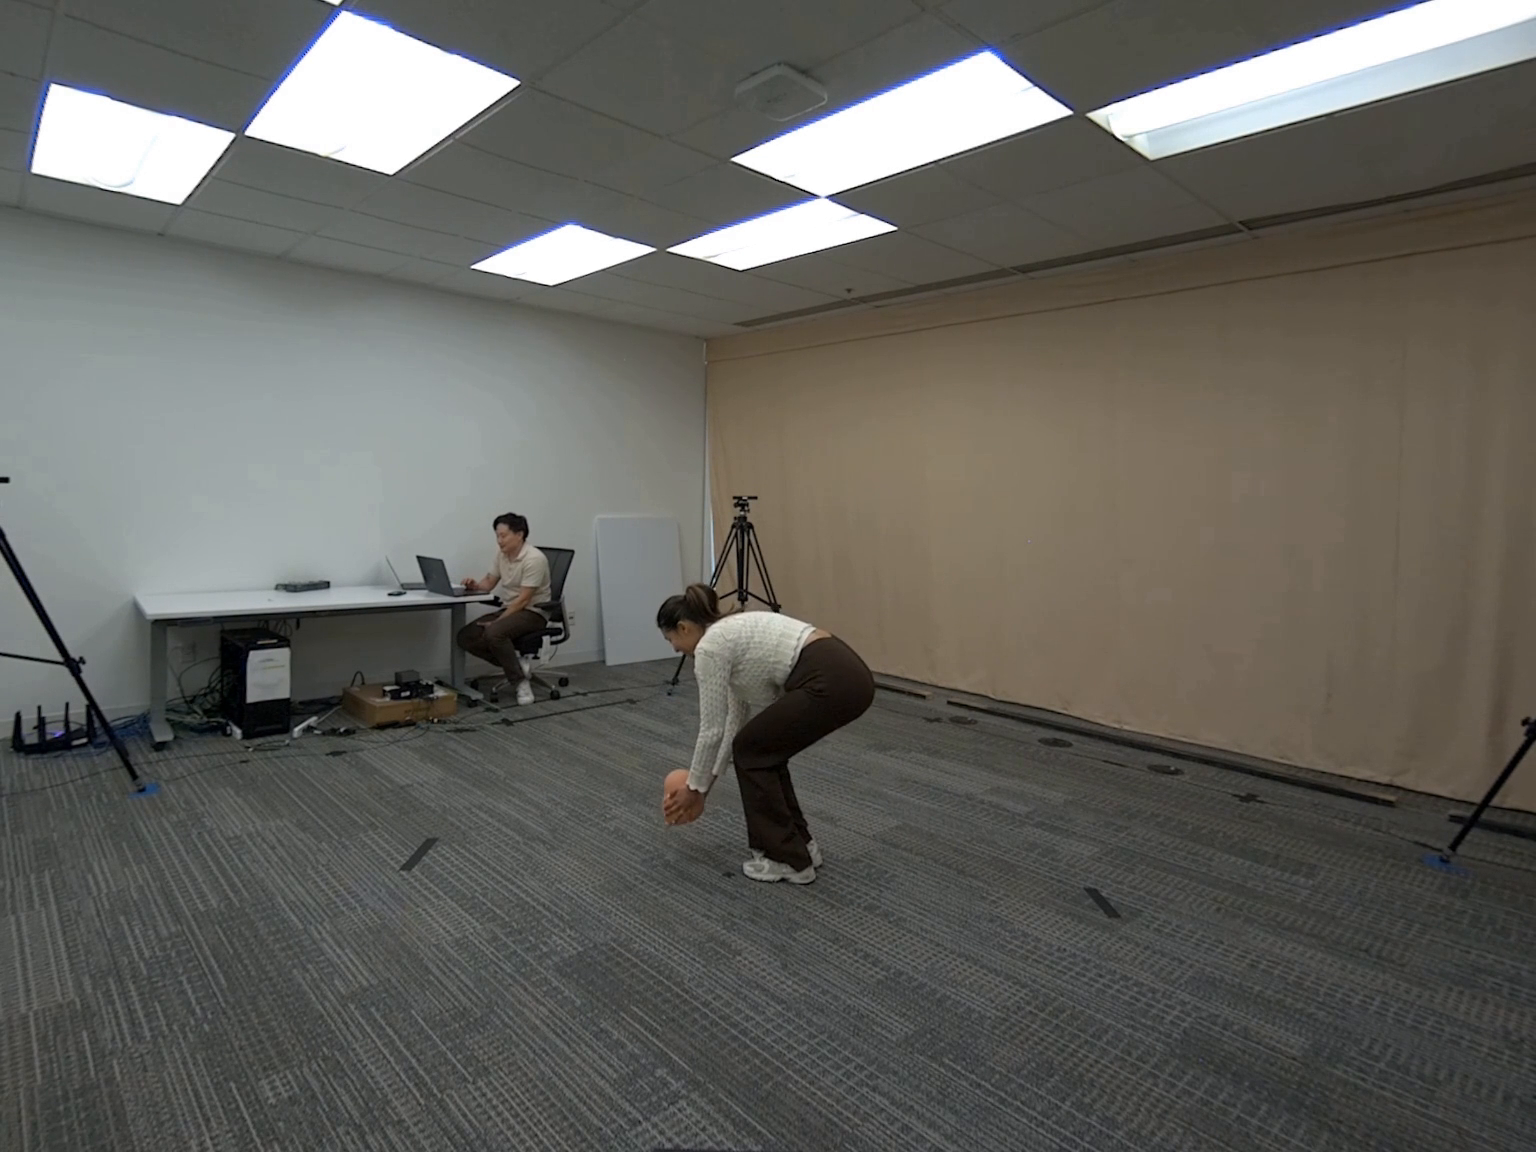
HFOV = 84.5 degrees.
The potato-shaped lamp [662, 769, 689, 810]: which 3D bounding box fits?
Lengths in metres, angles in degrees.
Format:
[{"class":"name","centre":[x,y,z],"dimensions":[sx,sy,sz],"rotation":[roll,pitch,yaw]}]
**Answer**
[{"class":"potato-shaped lamp","centre":[-0.337,0.846,3.270],"dimensions":[0.173,0.197,0.164],"rotation":[-13,4,14]}]
